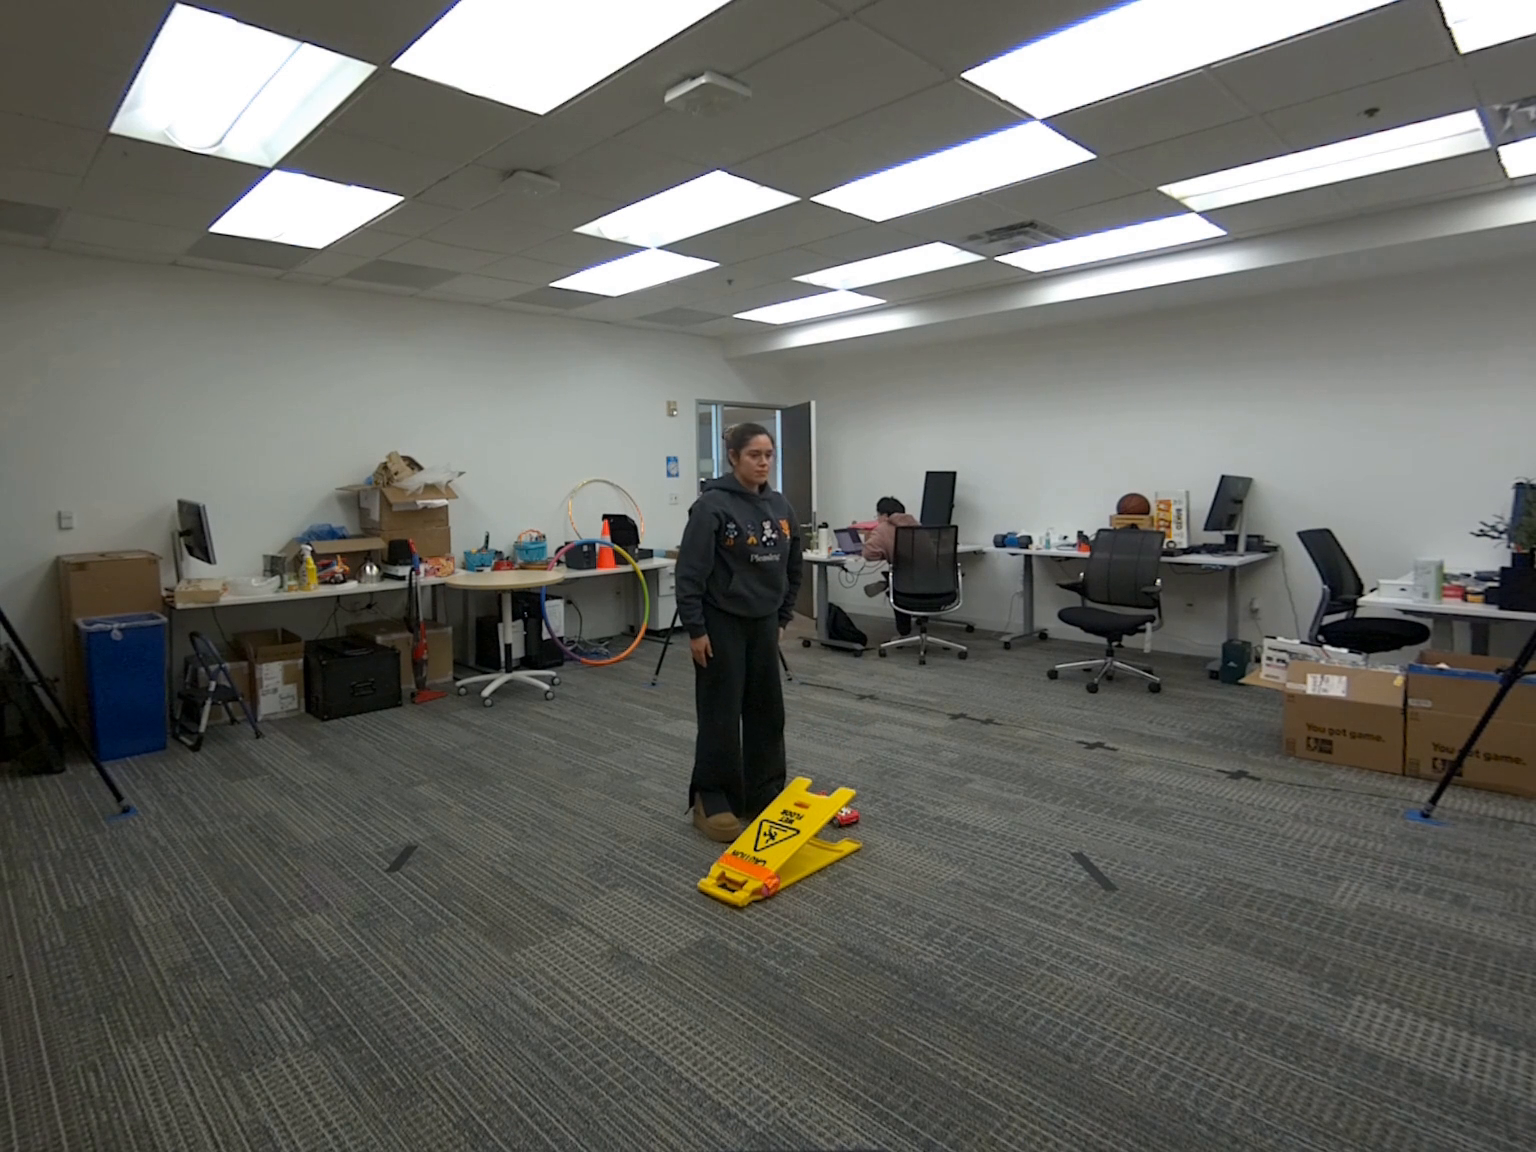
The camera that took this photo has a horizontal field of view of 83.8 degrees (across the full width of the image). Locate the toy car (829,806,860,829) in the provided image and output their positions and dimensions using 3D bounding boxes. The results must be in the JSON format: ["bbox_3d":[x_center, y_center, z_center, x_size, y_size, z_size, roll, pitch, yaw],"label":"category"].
[{"bbox_3d":[0.260,0.961,3.498,0.127,0.082,0.264,-3,15,-34],"label":"toy car"}]
